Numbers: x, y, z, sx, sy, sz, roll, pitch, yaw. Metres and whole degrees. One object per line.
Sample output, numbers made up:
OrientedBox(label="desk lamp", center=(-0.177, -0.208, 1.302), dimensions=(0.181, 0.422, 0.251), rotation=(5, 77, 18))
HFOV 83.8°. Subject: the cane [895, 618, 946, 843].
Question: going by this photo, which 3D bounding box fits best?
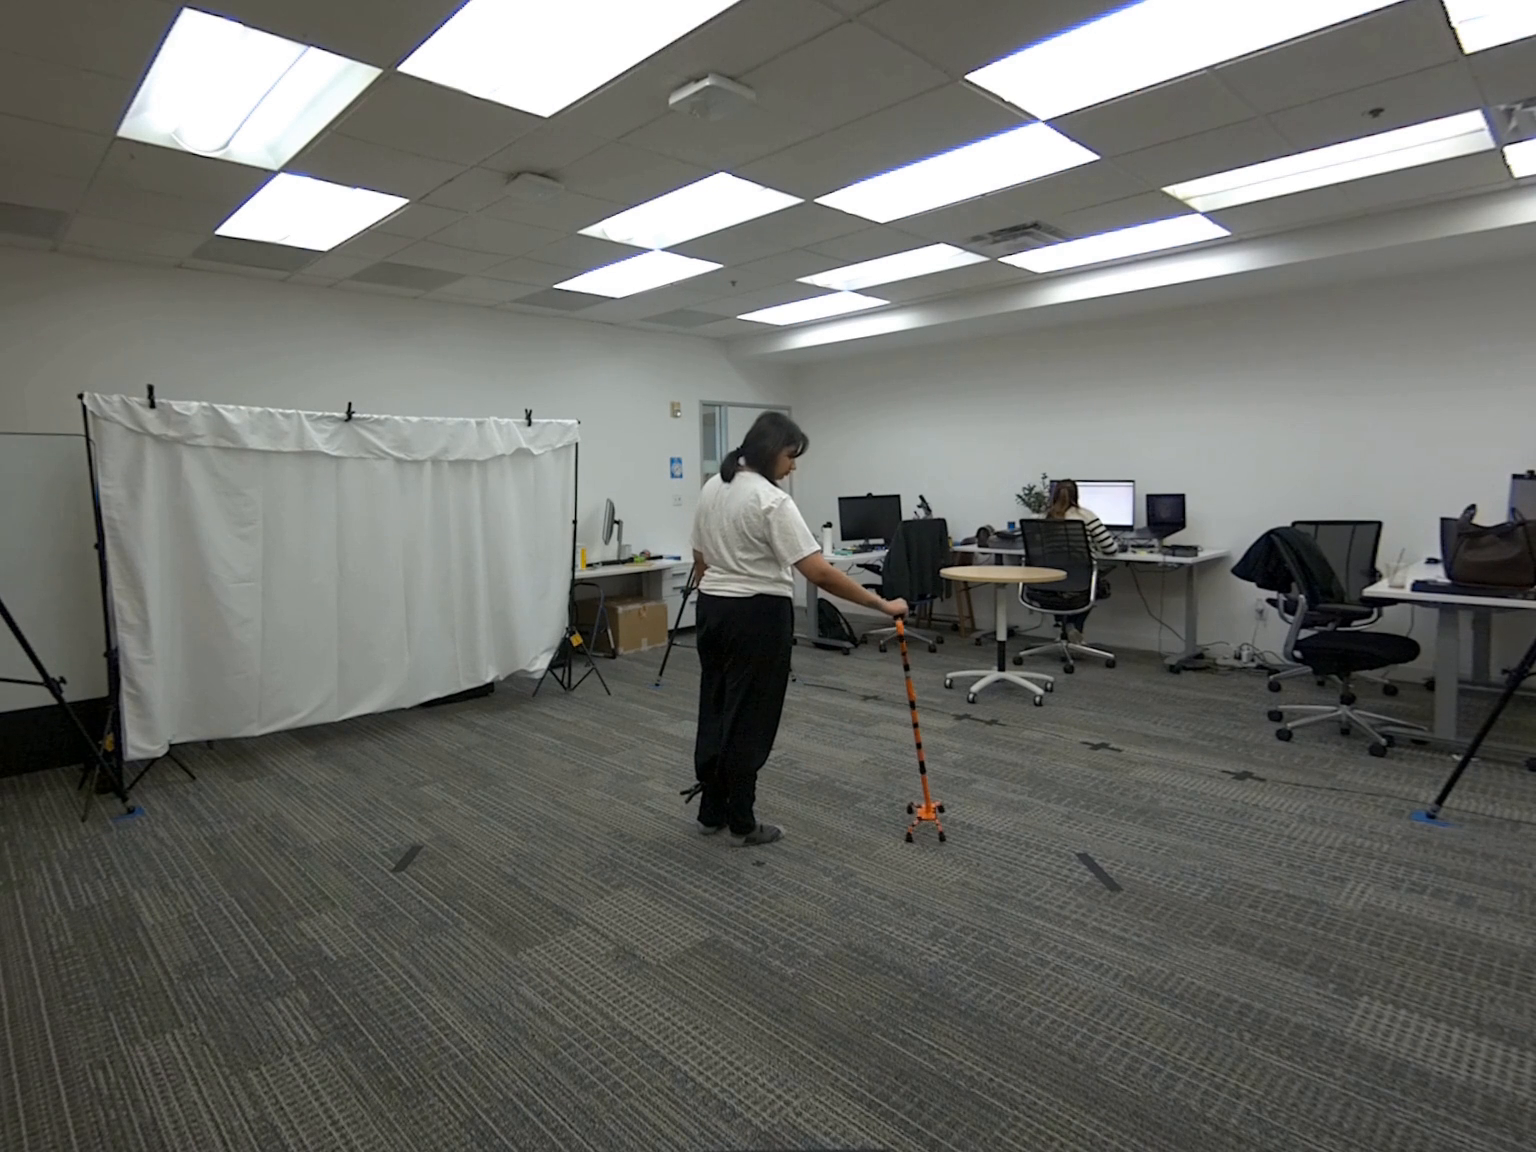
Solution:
OrientedBox(label="cane", center=(0.530, 0.555, 3.216), dimensions=(0.153, 0.892, 0.208), rotation=(-7, 17, 12))
